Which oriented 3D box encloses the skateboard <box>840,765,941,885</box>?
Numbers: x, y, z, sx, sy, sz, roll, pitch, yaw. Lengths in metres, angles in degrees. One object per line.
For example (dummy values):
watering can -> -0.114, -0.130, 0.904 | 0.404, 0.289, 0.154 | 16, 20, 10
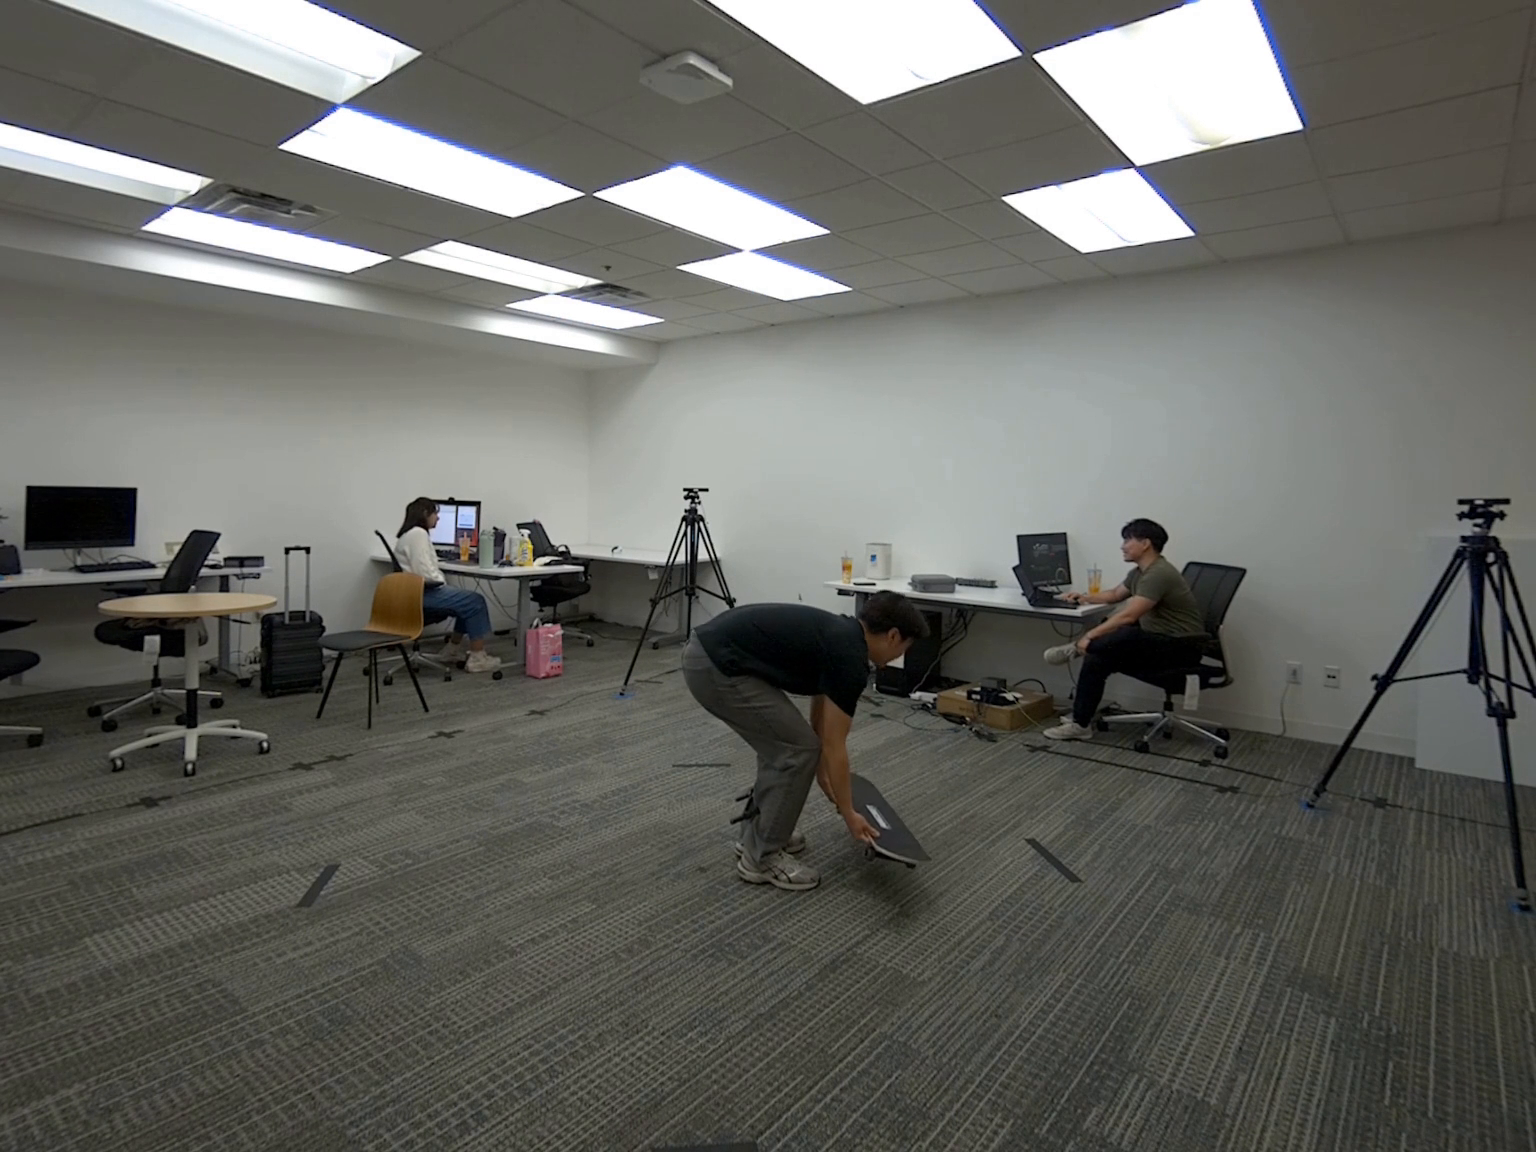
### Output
skateboard -> 0.400, 0.899, 3.160 | 0.191, 0.110, 0.796 | 11, 5, -10
